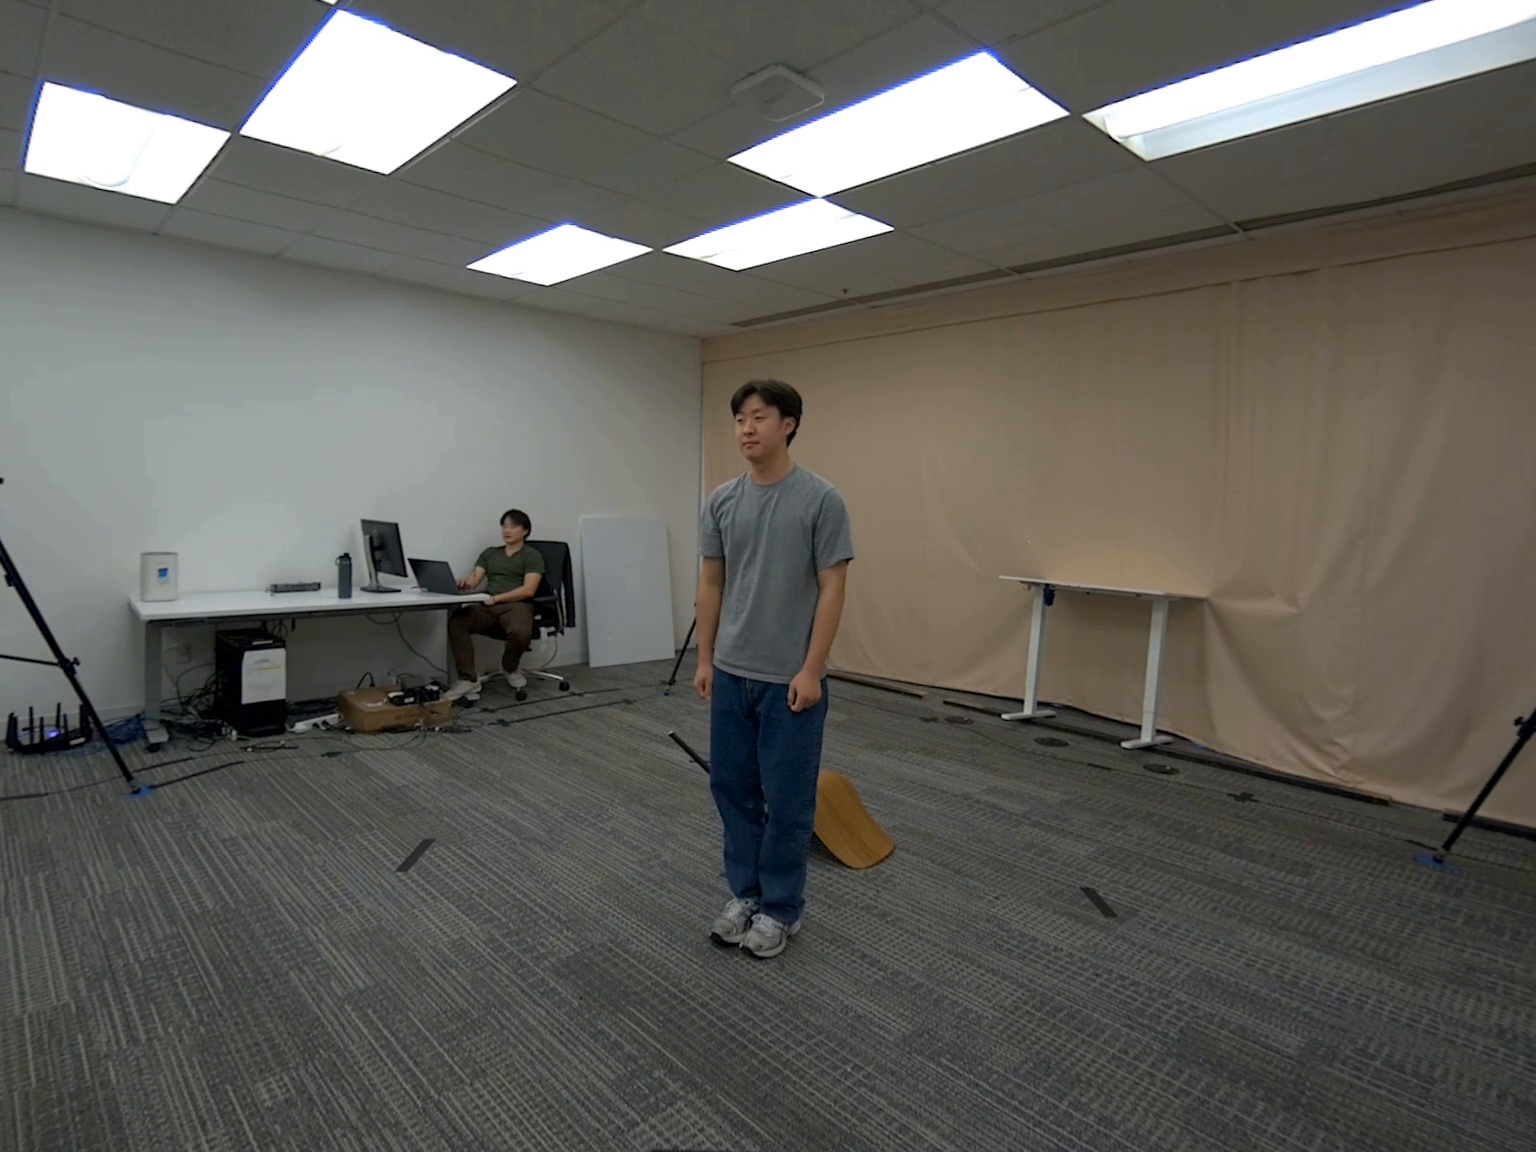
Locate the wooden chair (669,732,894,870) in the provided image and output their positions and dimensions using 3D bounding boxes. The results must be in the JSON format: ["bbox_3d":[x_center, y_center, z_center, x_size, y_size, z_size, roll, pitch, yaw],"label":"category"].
[{"bbox_3d":[0.050,0.902,3.544,0.524,0.893,0.469,-42,-19,25],"label":"wooden chair"}]
